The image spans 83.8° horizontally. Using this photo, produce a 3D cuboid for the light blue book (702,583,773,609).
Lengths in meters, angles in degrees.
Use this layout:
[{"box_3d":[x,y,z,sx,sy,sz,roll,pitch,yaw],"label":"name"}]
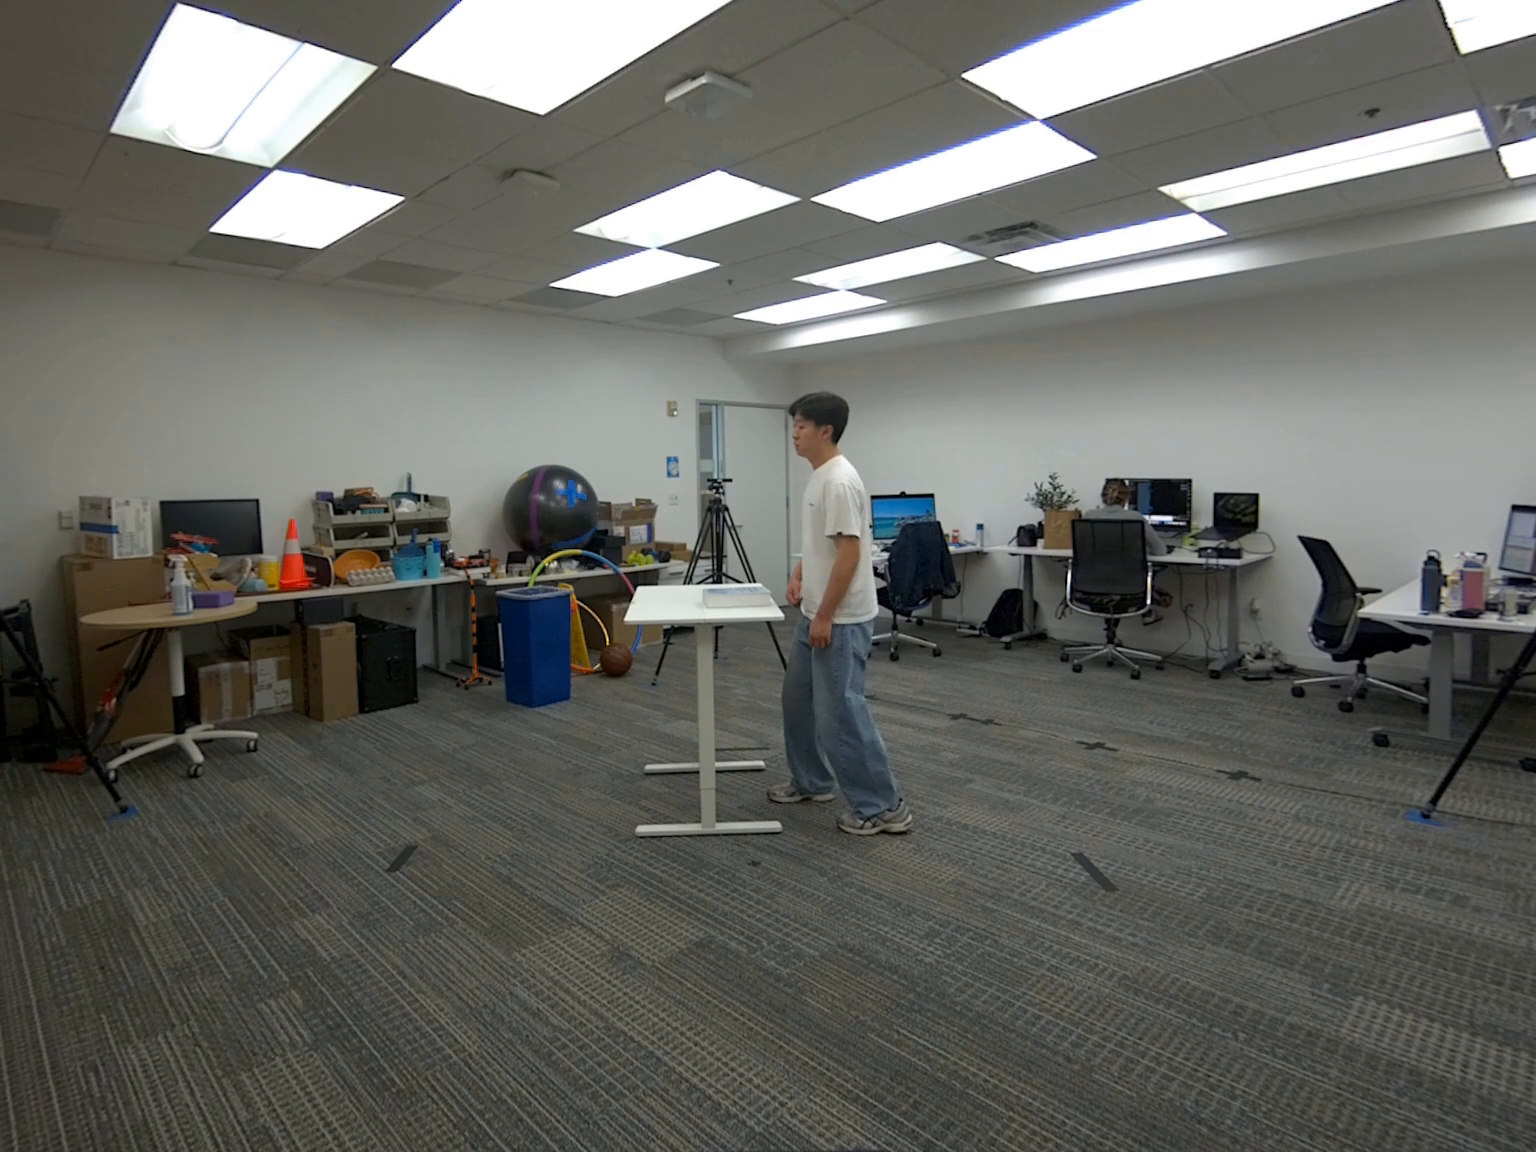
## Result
[{"box_3d":[-0.125,0.089,3.545,0.259,0.058,0.194,-3,8,-9],"label":"light blue book"}]
